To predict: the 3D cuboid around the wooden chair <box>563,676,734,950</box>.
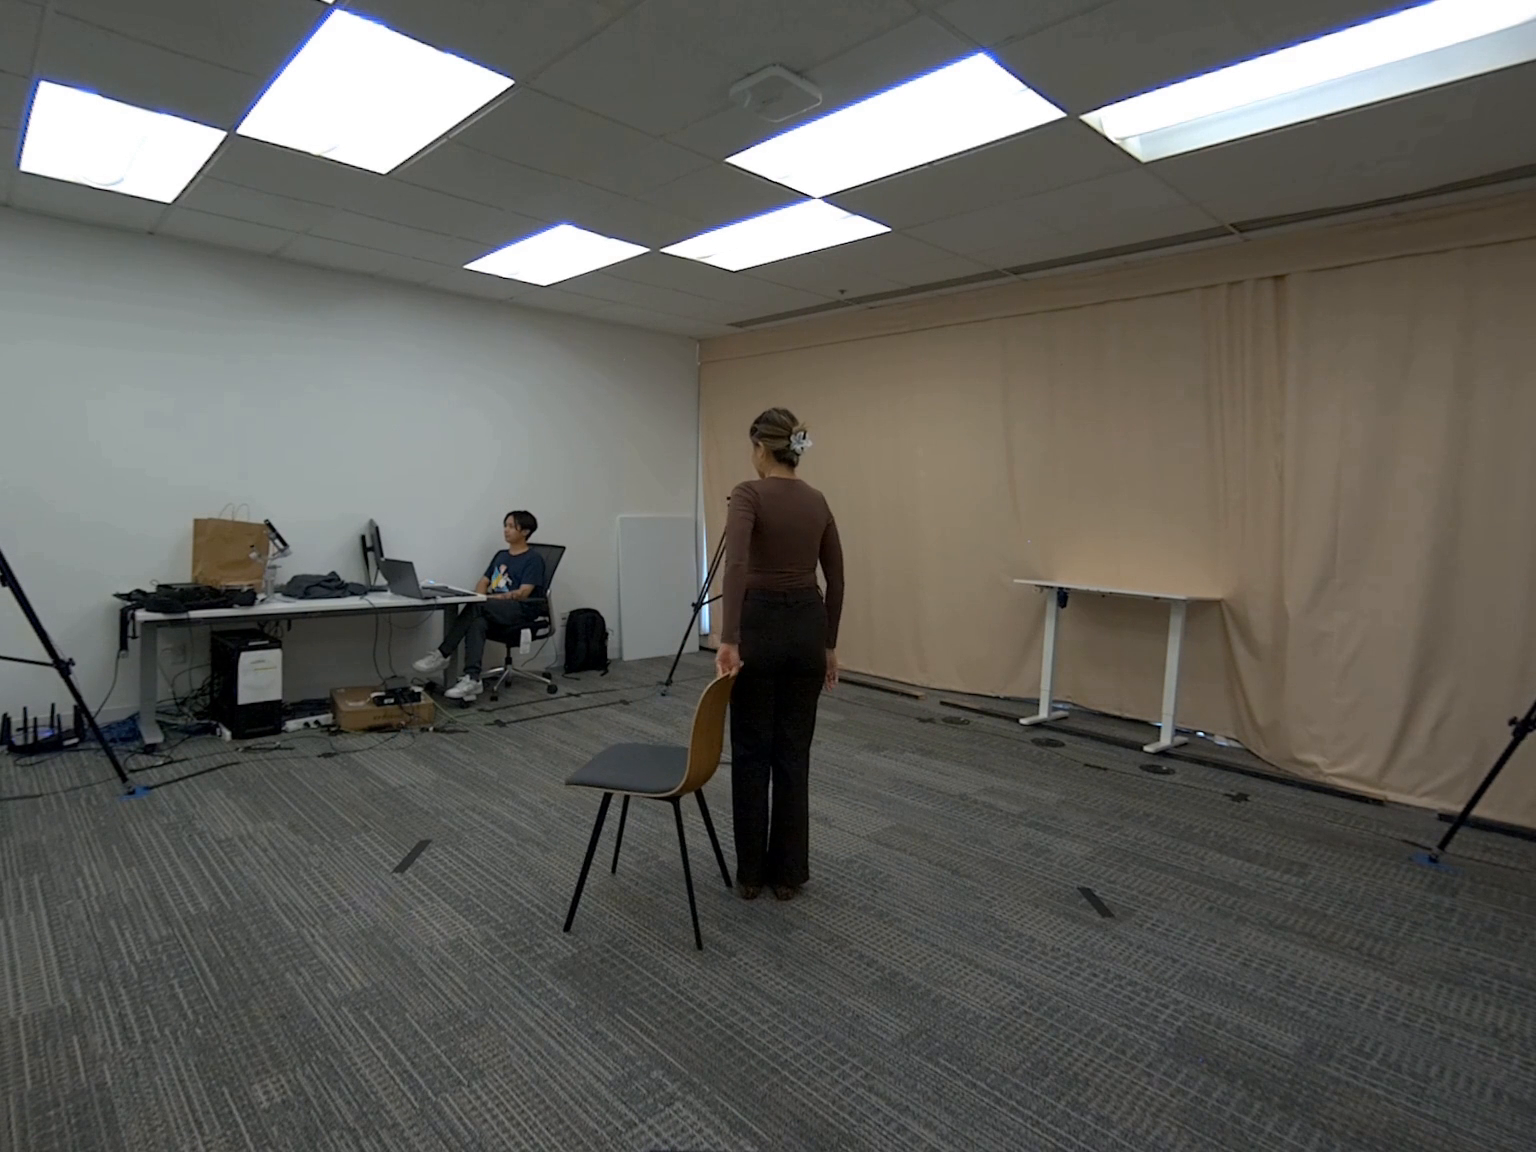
[{"bbox_3d":[-0.395,0.697,2.815,0.529,0.875,0.474,6,4,11],"label":"wooden chair"}]
